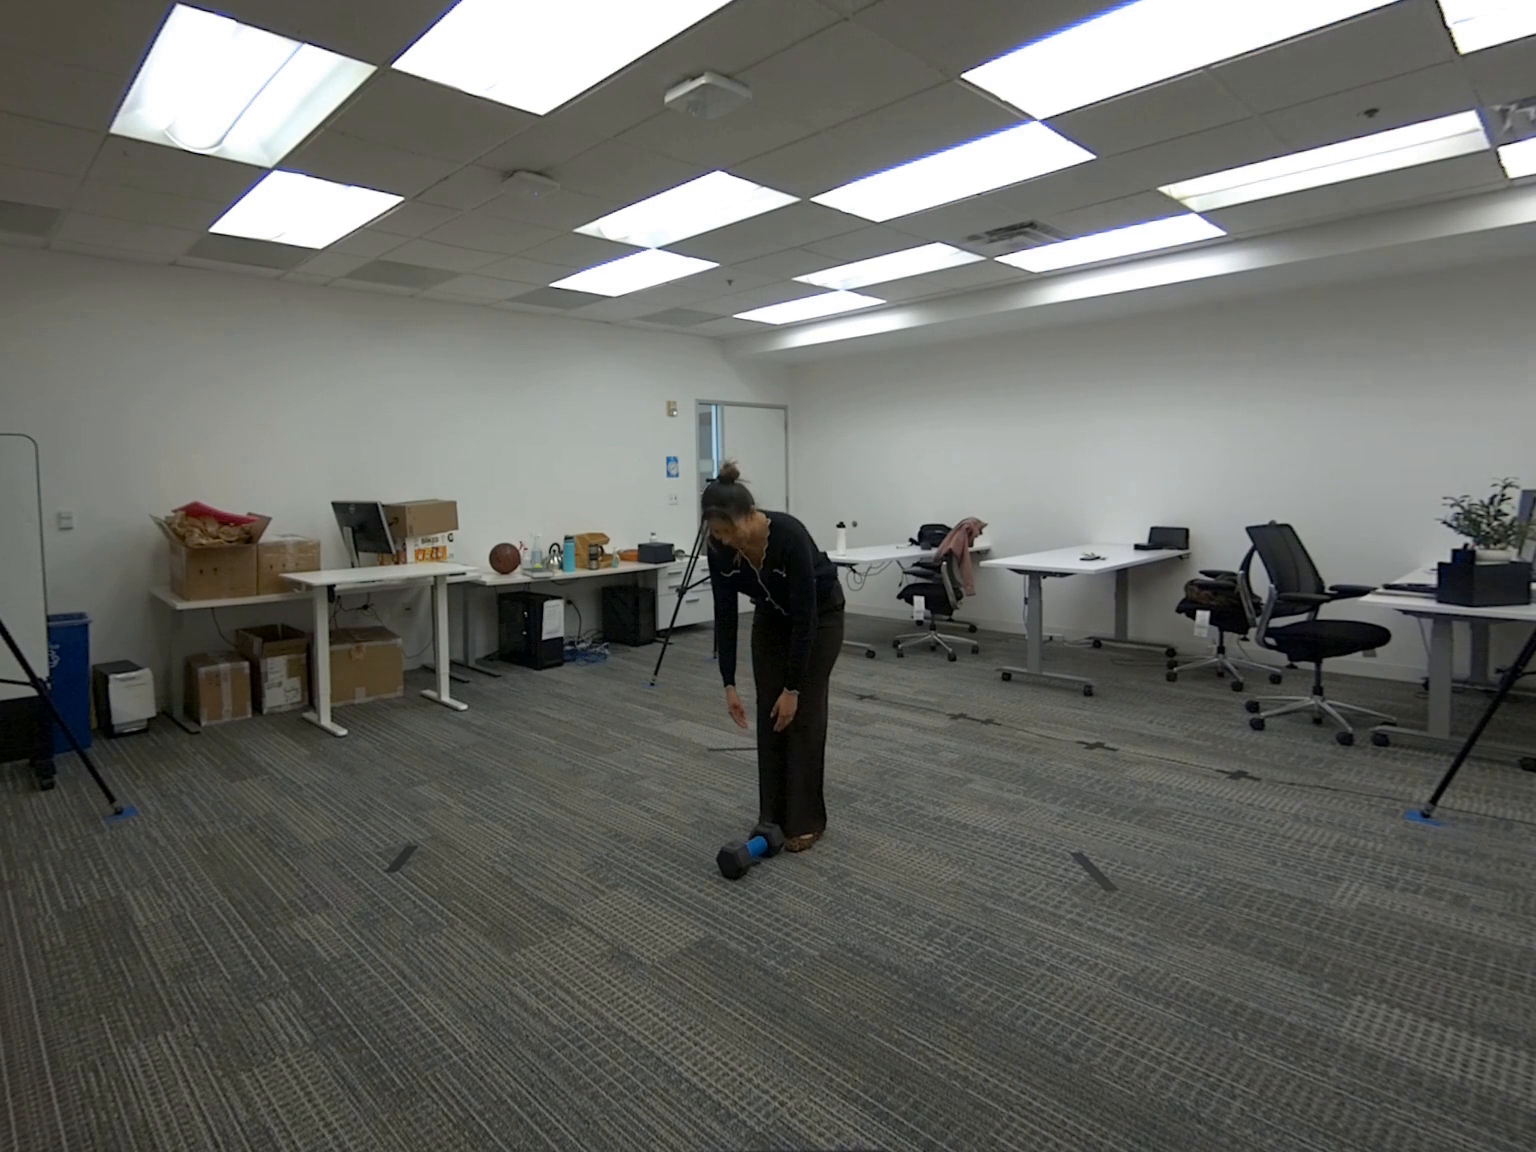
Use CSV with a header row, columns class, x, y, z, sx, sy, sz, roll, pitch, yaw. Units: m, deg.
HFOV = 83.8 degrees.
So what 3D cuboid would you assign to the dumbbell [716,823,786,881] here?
class,x,y,z,sx,sy,sz,roll,pitch,yaw
dumbbell,-0.055,0.993,3.097,0.112,0.122,0.286,34,23,27
